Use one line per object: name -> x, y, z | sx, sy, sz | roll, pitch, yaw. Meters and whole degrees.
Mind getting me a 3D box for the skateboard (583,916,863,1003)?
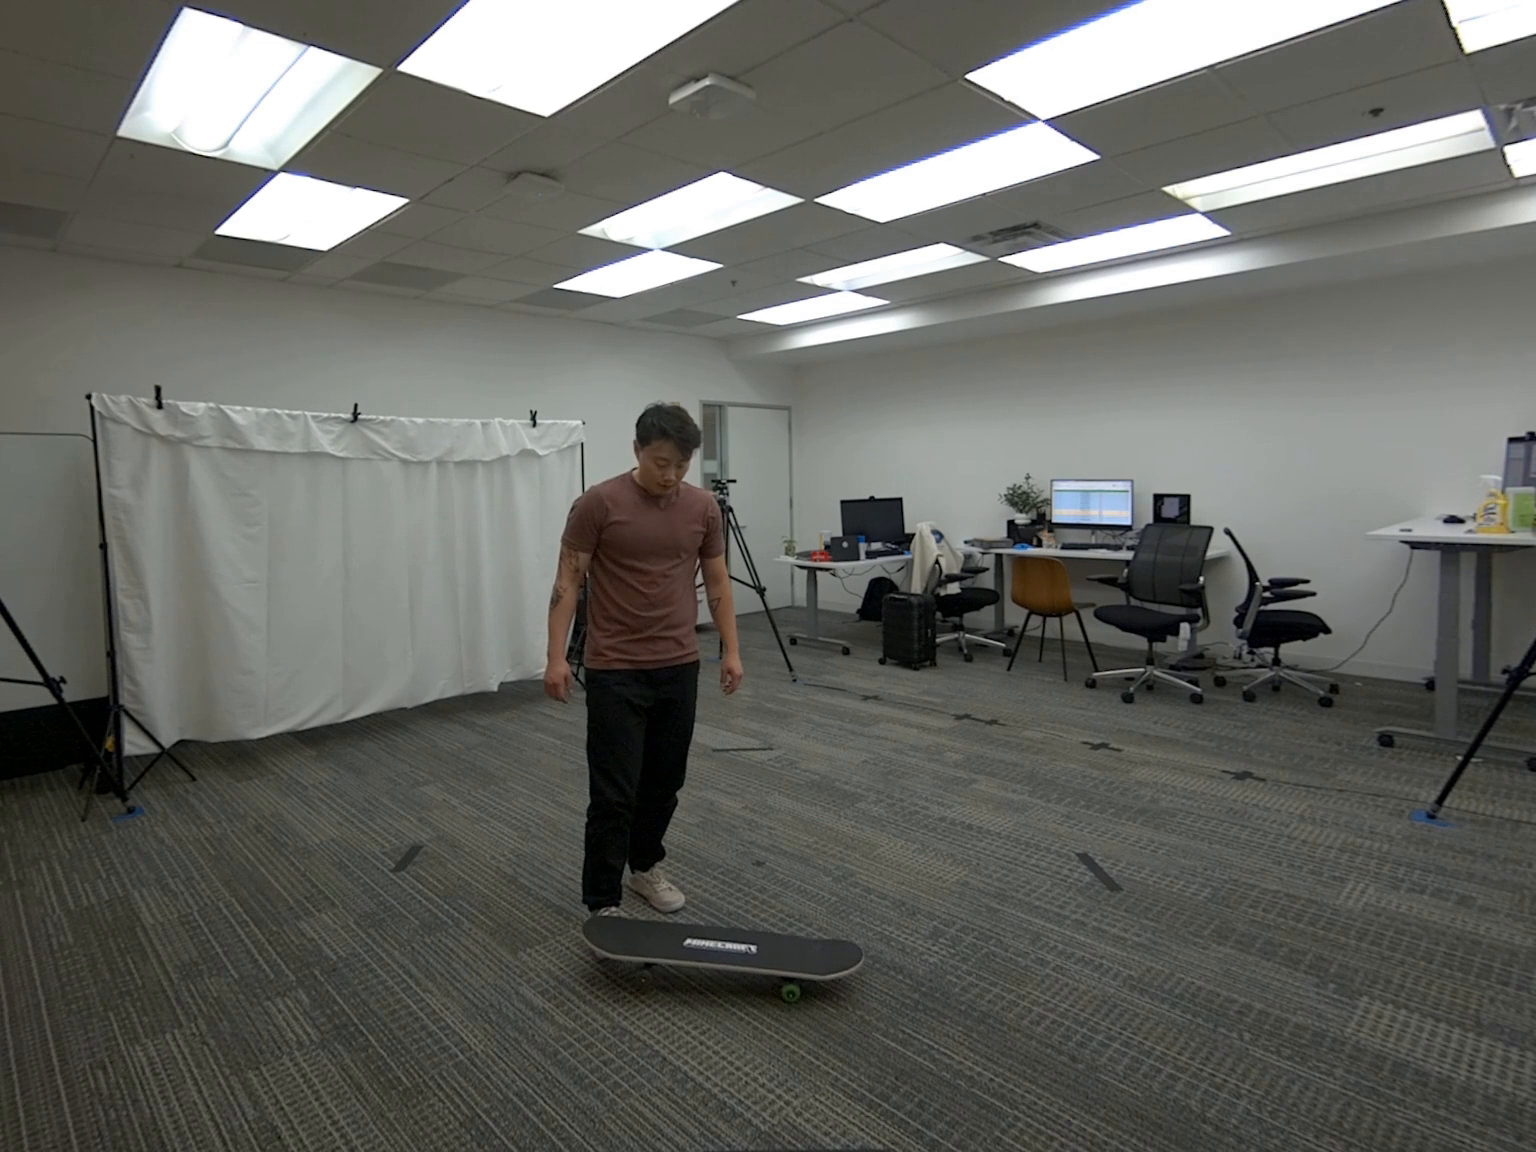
skateboard -> -0.134, 1.063, 2.381 | 0.789, 0.110, 0.193 | 3, 6, 5
